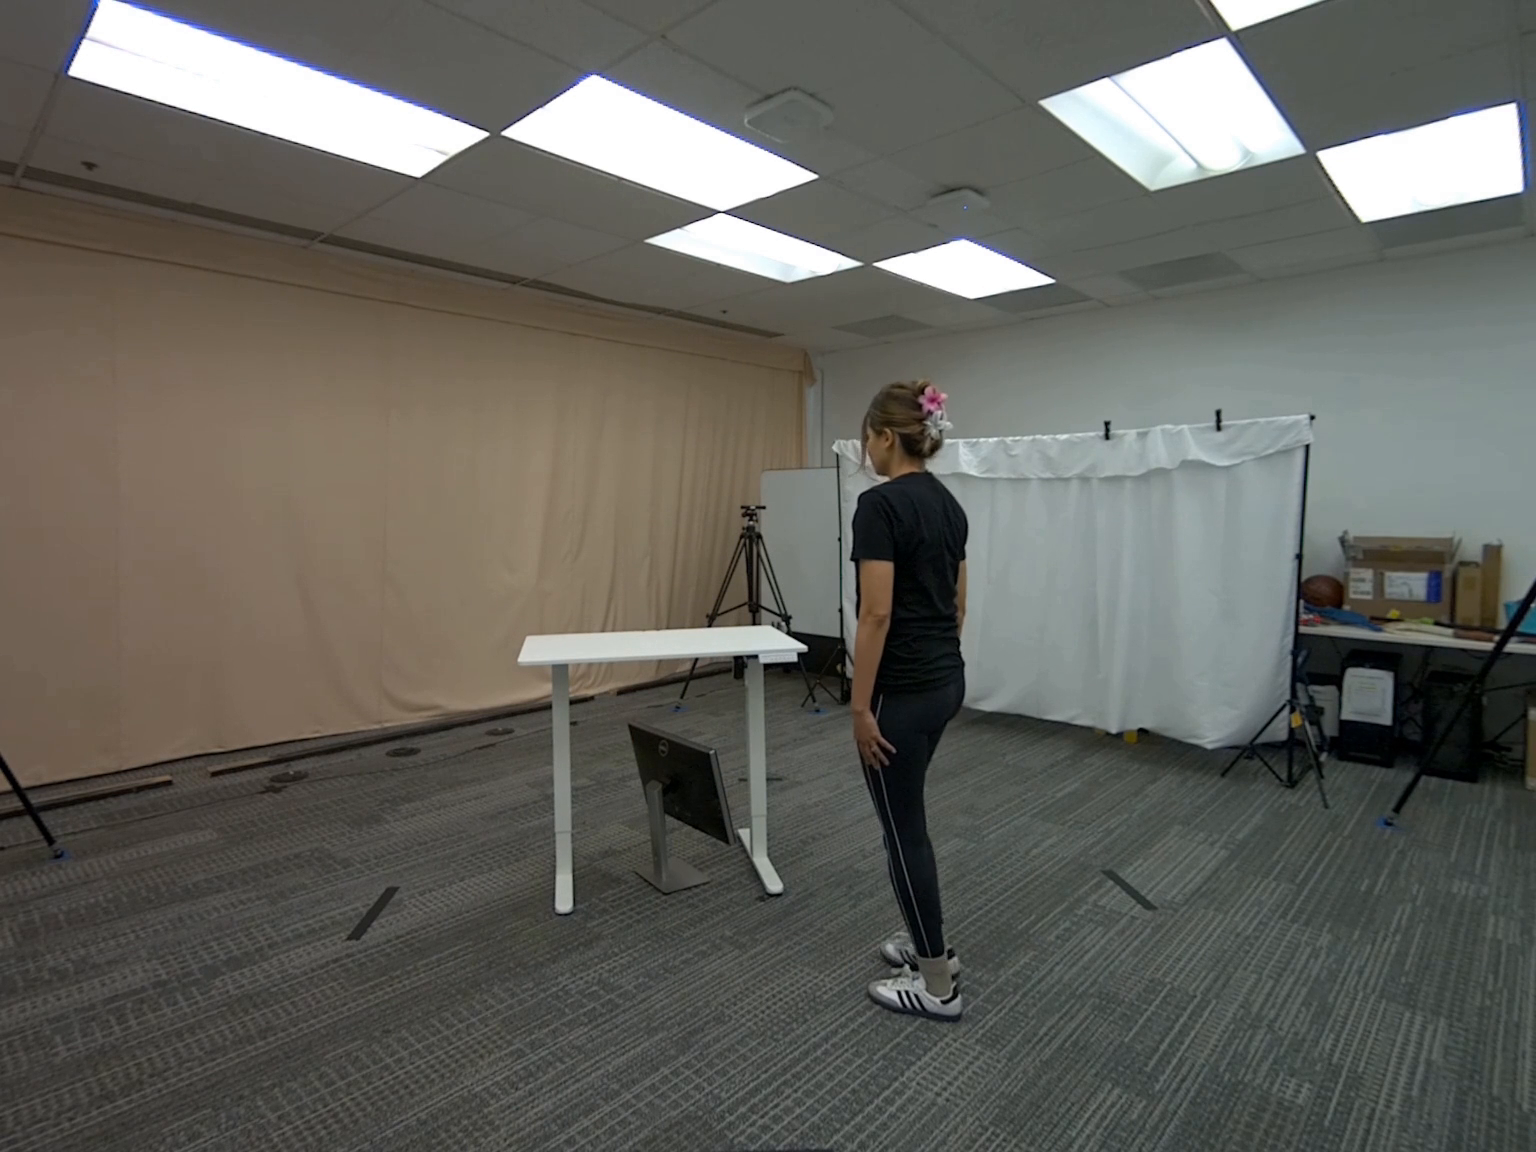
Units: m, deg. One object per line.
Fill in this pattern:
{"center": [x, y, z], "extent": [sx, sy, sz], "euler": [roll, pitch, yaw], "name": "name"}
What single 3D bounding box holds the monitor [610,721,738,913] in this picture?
{"center": [-0.365, 0.866, 3.154], "extent": [0.181, 0.522, 0.557], "euler": [-1, 4, -40], "name": "monitor"}
